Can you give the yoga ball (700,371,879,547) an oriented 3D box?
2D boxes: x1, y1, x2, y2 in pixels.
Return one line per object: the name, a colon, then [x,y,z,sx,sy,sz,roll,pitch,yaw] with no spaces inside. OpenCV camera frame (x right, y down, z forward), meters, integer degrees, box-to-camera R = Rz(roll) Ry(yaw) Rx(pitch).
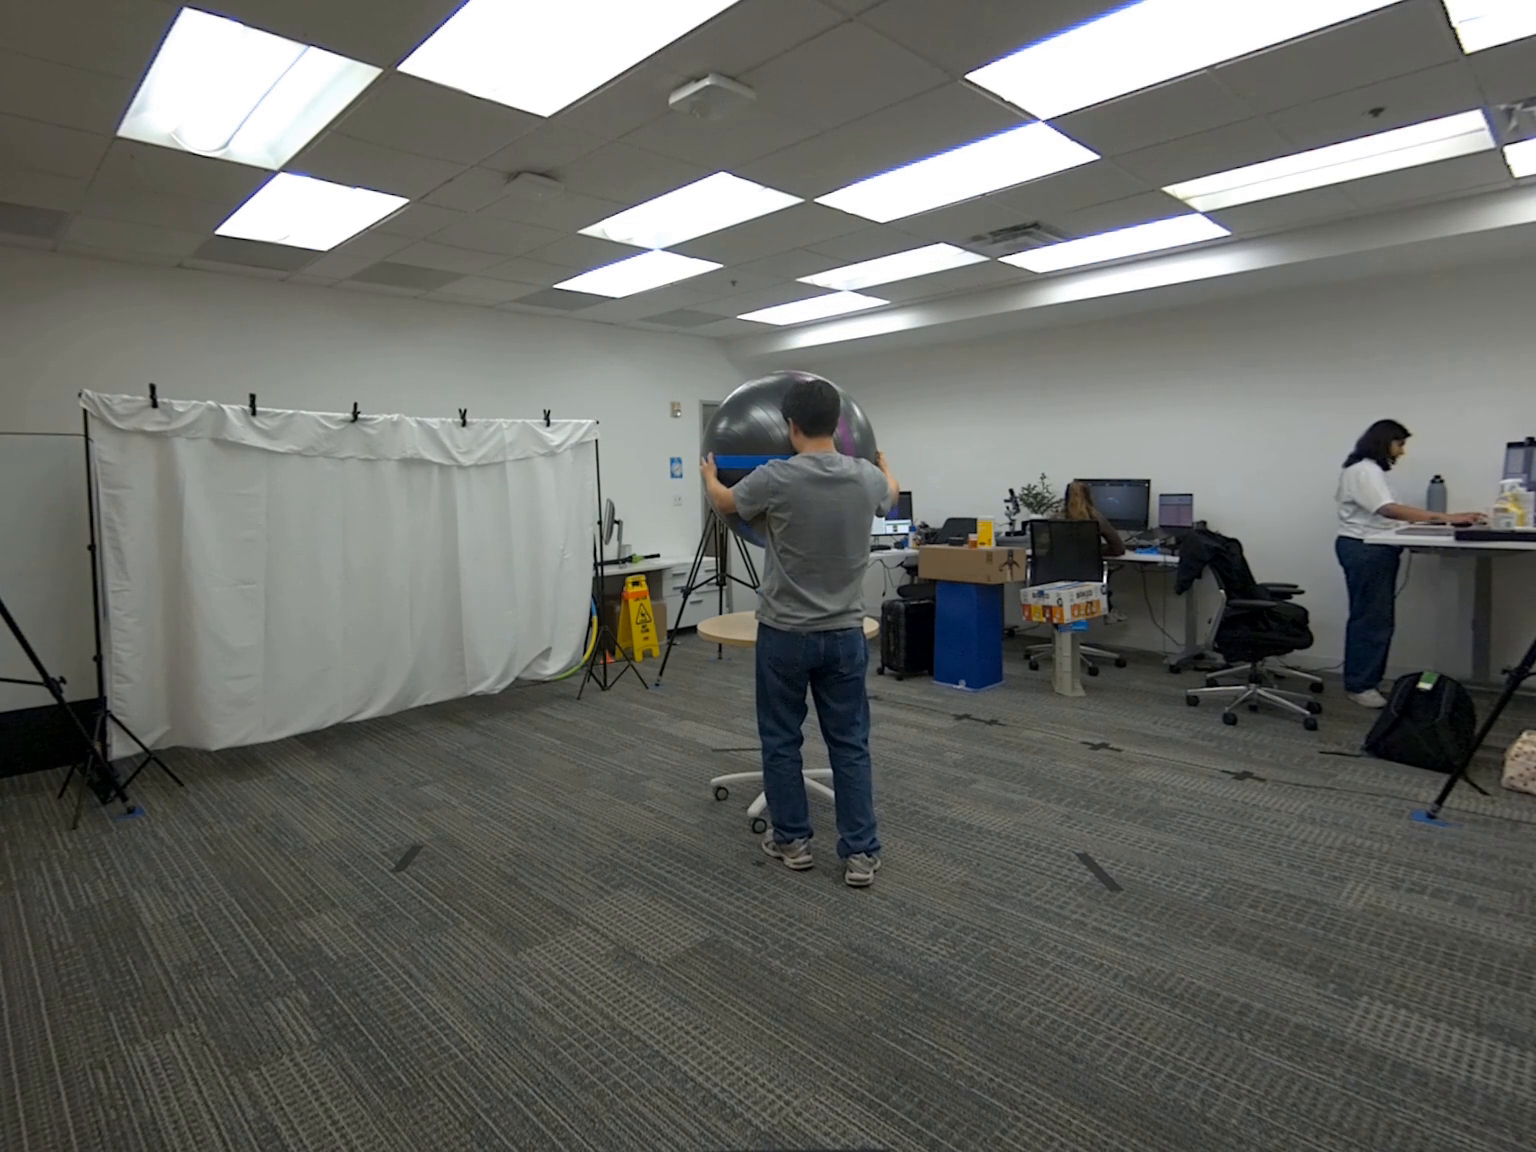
yoga ball: [0.087,-0.480,3.635,0.757,0.755,0.762,-1,5,-2]
